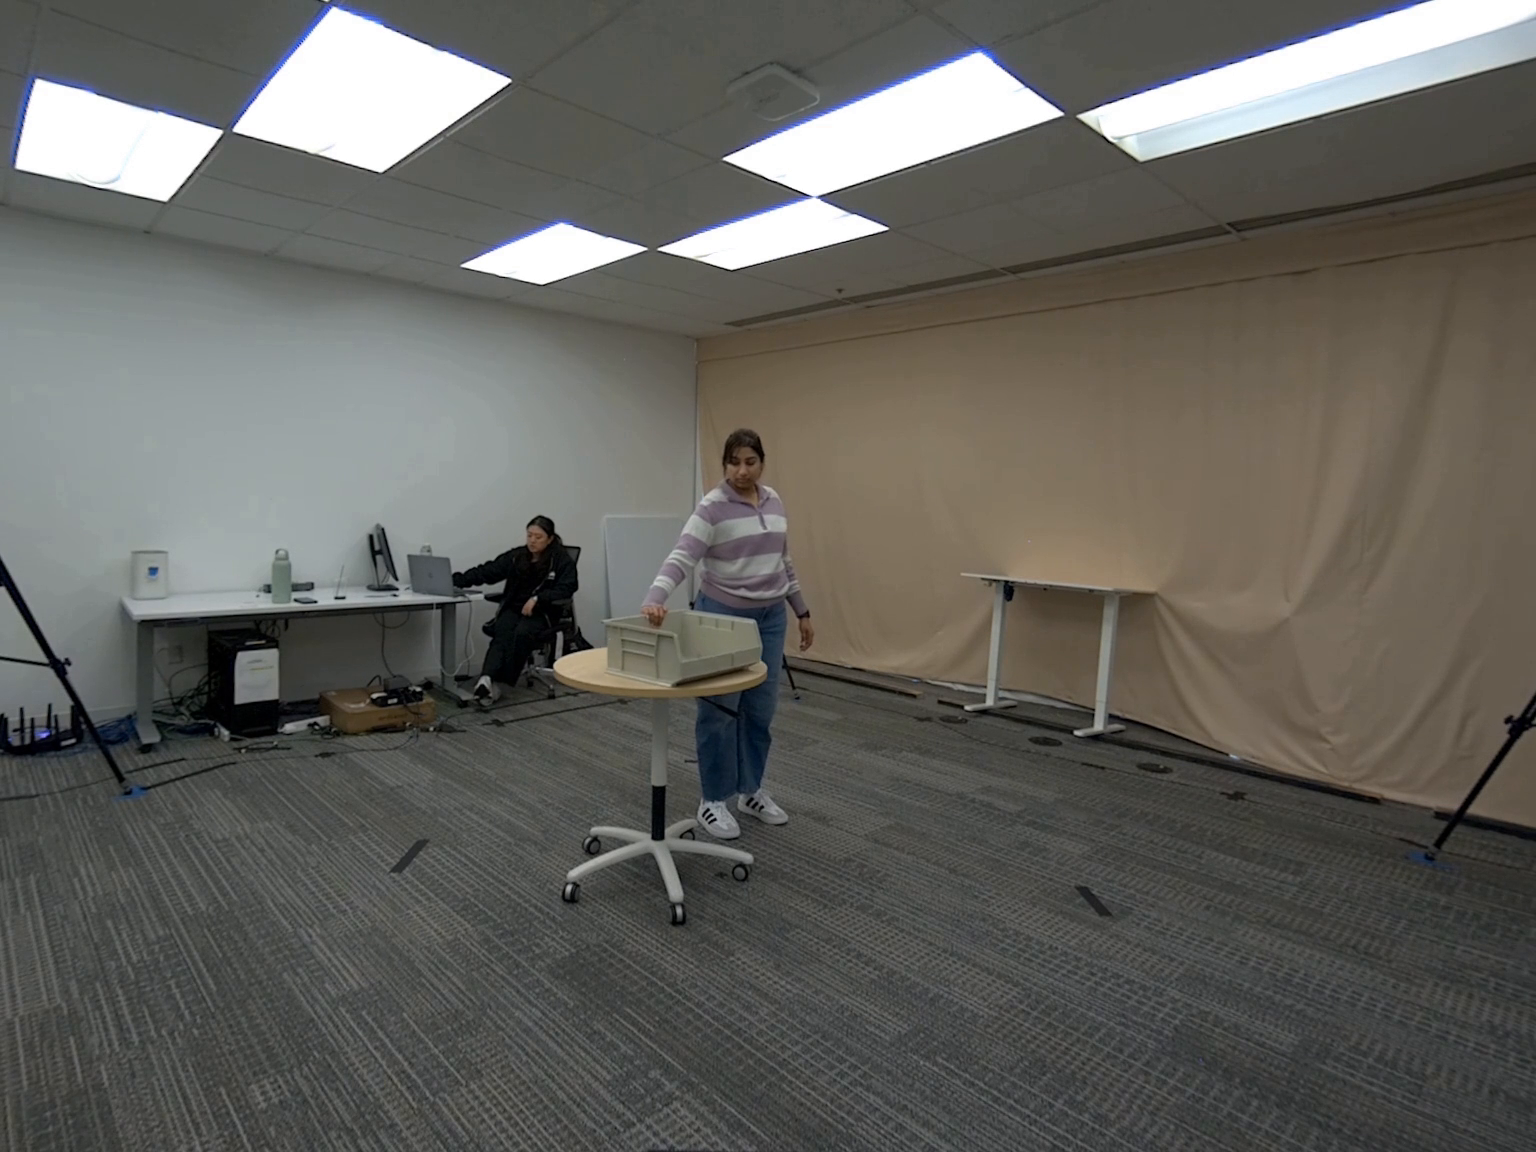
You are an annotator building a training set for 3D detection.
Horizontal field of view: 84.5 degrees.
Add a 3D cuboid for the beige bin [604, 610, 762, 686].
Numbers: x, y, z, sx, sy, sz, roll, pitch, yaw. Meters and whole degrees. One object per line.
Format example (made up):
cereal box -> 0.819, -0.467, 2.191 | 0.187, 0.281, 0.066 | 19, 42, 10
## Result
beige bin -> -0.302, 0.247, 2.914 | 0.386, 0.188, 0.413 | 4, 6, 38
